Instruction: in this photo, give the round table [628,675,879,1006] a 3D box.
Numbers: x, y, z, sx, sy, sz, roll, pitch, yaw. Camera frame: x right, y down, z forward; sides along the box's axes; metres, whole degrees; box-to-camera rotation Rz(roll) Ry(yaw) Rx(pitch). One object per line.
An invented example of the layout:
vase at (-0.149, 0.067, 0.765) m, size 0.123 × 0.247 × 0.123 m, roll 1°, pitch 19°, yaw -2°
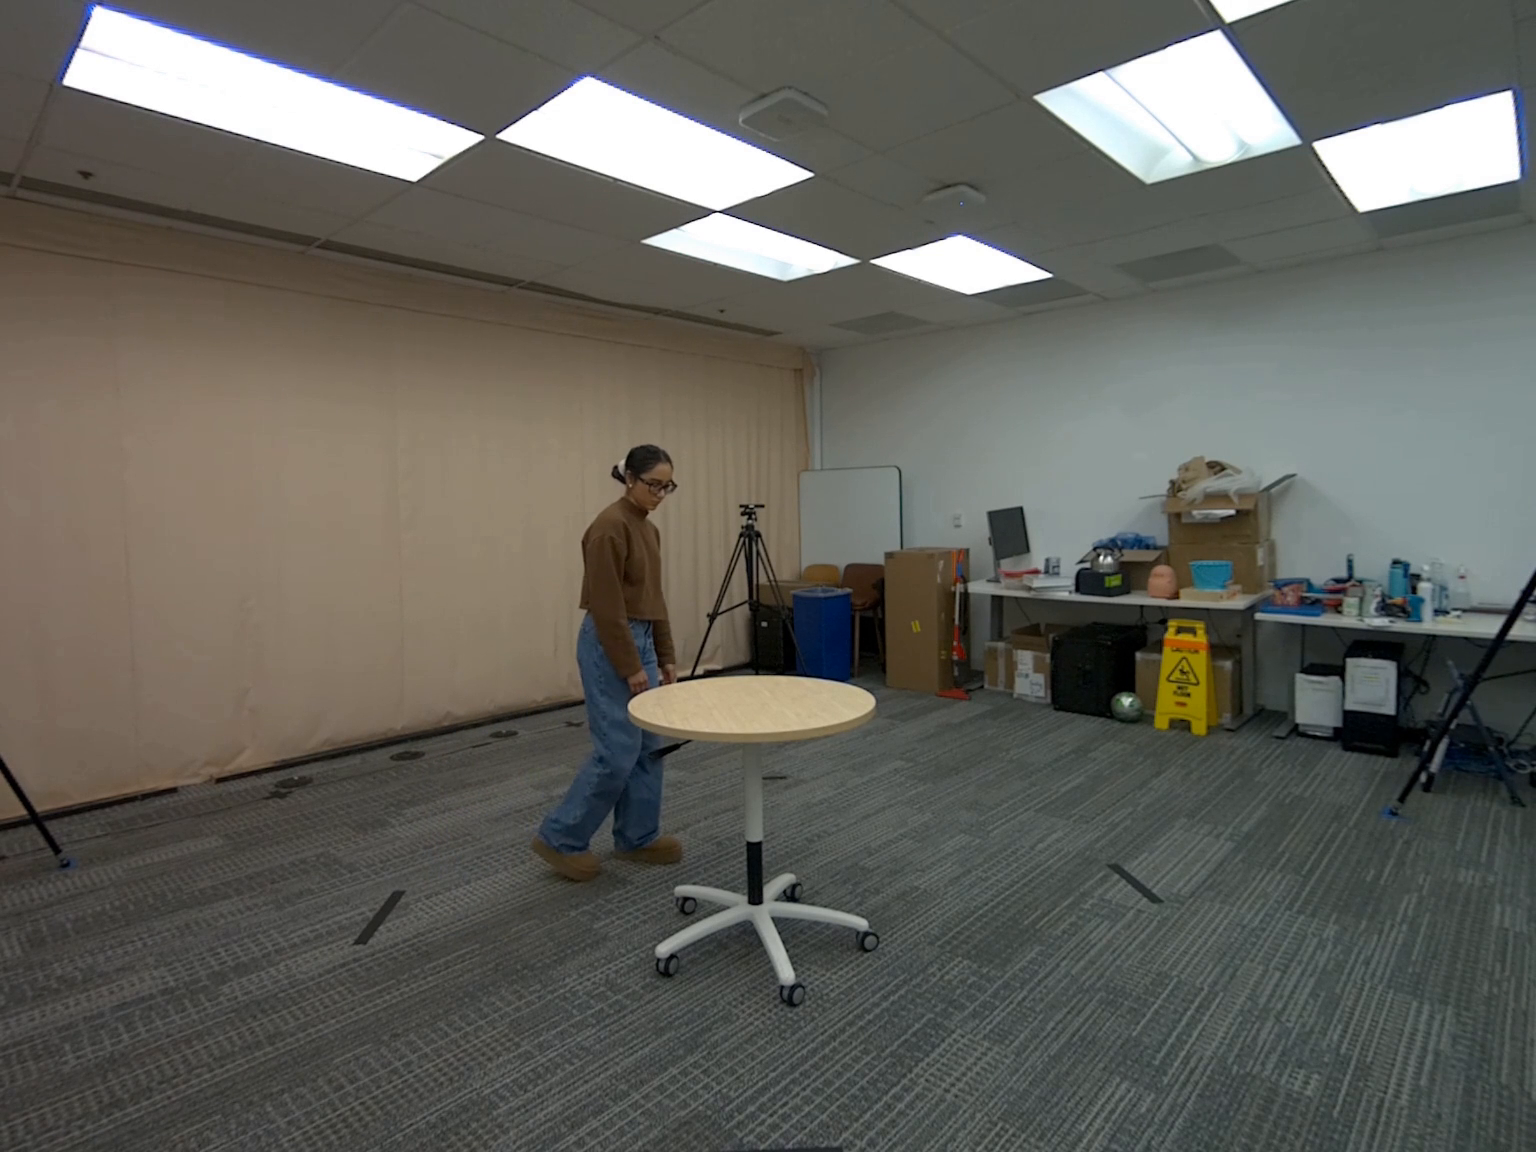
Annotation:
round table at (-0.040, 0.781, 2.646) m, size 0.763 × 0.792 × 0.766 m, roll -1°, pitch 4°, yaw -2°
